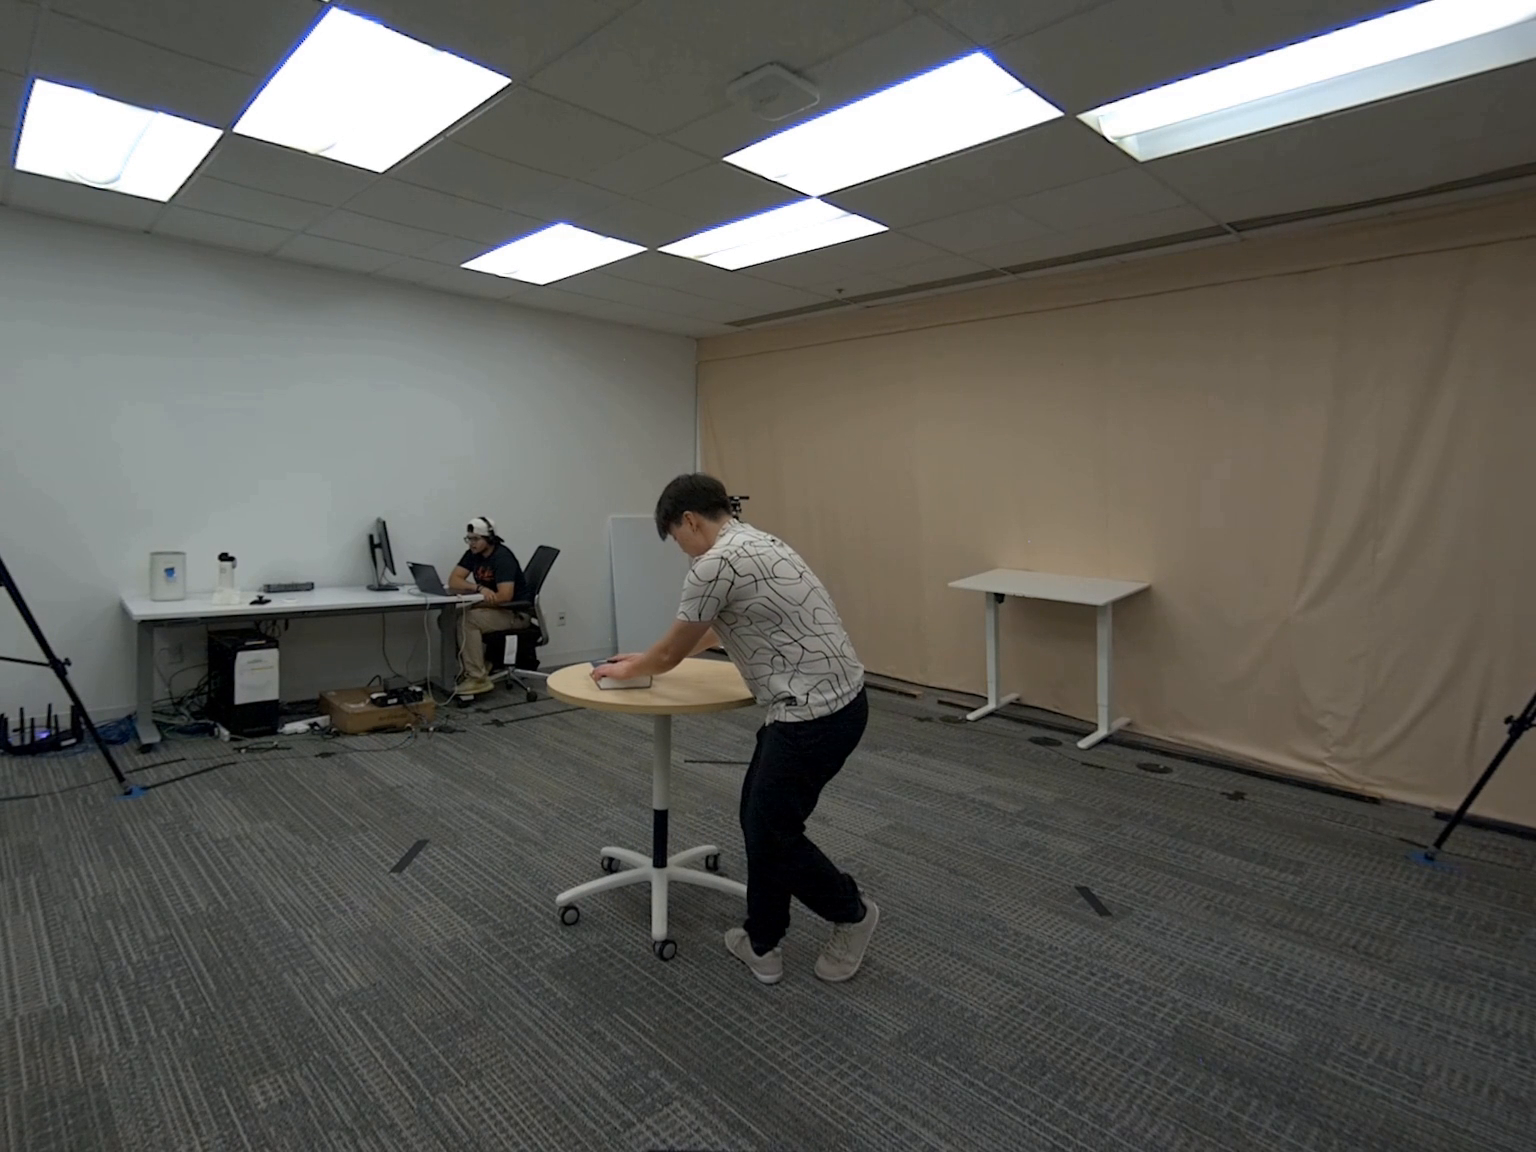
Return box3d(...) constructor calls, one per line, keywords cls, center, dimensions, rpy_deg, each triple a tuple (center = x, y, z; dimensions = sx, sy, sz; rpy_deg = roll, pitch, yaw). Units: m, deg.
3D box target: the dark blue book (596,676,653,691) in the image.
box3d(cls="dark blue book", center=(-0.487, 0.332, 2.752), dimensions=(0.161, 0.045, 0.249), rpy_deg=(0, 5, -16))
